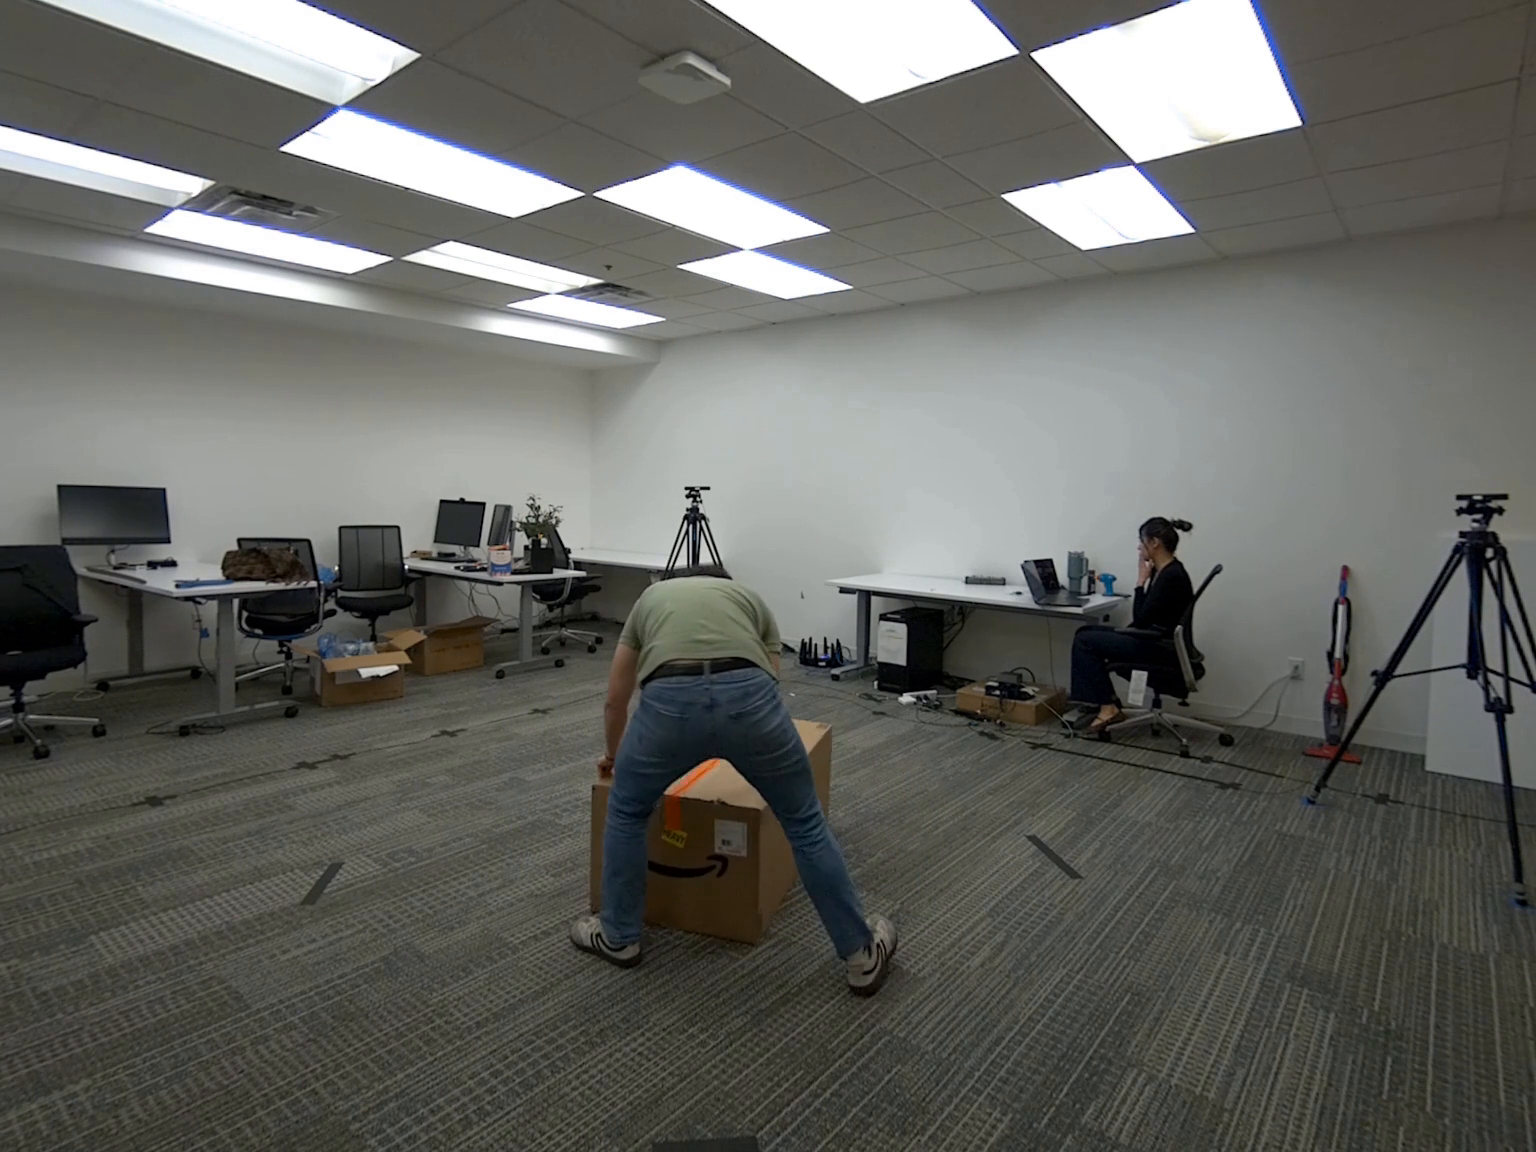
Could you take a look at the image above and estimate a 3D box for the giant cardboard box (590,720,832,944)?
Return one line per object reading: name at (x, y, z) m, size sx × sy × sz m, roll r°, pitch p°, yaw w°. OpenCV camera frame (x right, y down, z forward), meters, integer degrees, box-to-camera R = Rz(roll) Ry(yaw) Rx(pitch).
giant cardboard box at (-0.173, 0.845, 3.135) m, size 0.589 × 0.424 × 1.011 m, roll 2°, pitch 6°, yaw 17°
